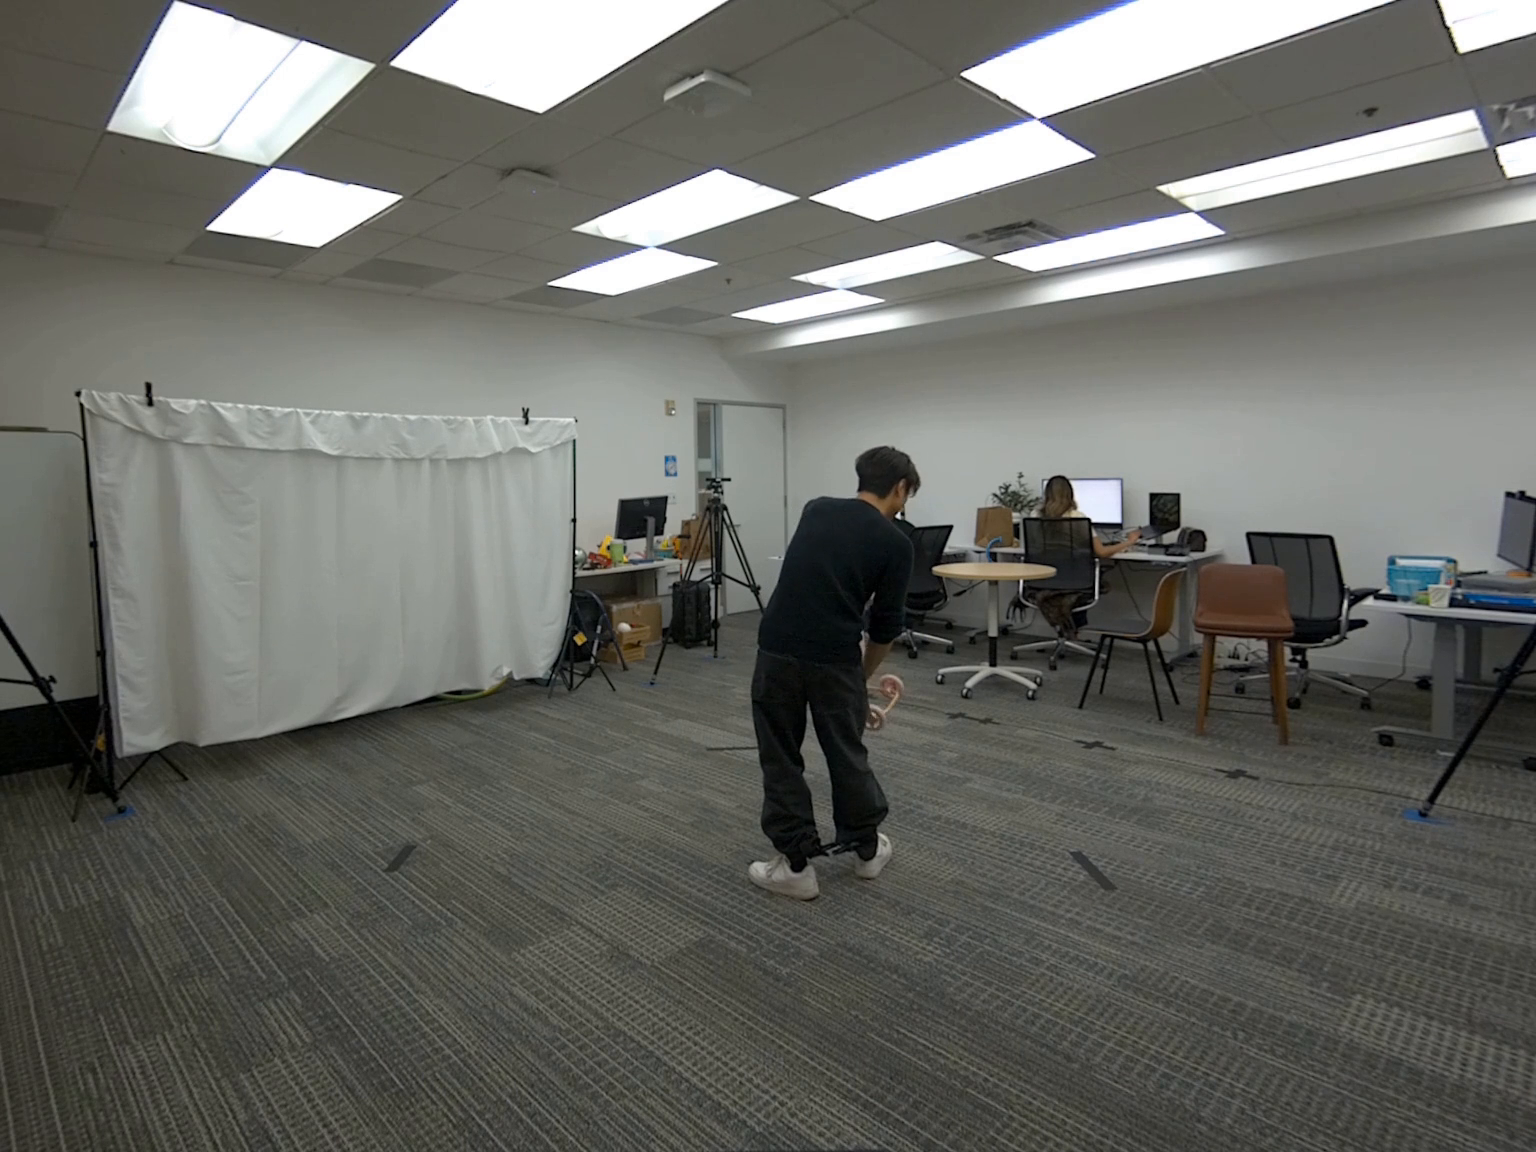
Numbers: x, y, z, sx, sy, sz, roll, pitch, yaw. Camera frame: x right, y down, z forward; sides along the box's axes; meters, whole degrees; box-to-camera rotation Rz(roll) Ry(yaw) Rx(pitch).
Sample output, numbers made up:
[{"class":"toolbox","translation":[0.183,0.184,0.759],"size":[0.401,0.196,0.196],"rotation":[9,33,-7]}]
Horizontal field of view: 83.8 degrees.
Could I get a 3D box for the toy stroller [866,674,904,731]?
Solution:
[{"class":"toy stroller","translation":[0.314,0.367,3.388],"size":[0.349,0.527,0.279],"rotation":[-9,15,36]}]
